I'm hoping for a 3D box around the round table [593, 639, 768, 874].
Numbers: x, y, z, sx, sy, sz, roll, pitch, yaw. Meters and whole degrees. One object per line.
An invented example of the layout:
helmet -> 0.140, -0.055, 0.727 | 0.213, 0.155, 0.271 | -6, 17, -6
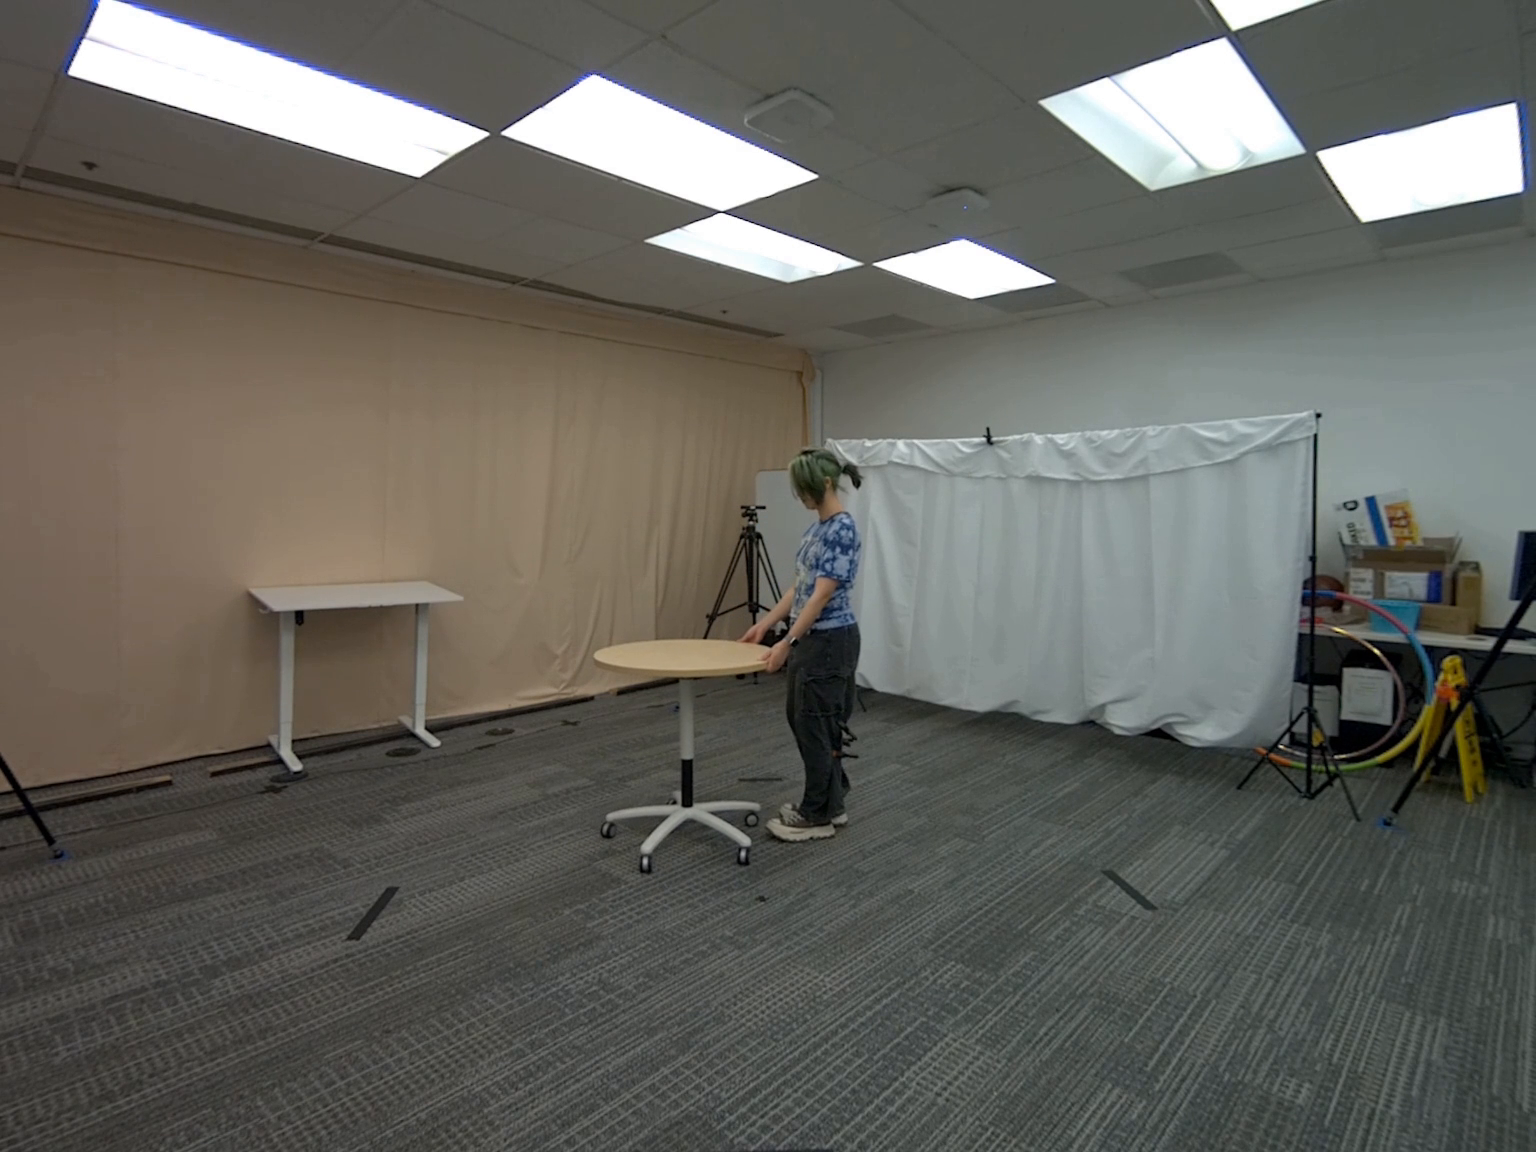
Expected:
round table -> -0.338, 0.715, 3.495 | 0.763, 0.792, 0.766 | 0, 3, -2
